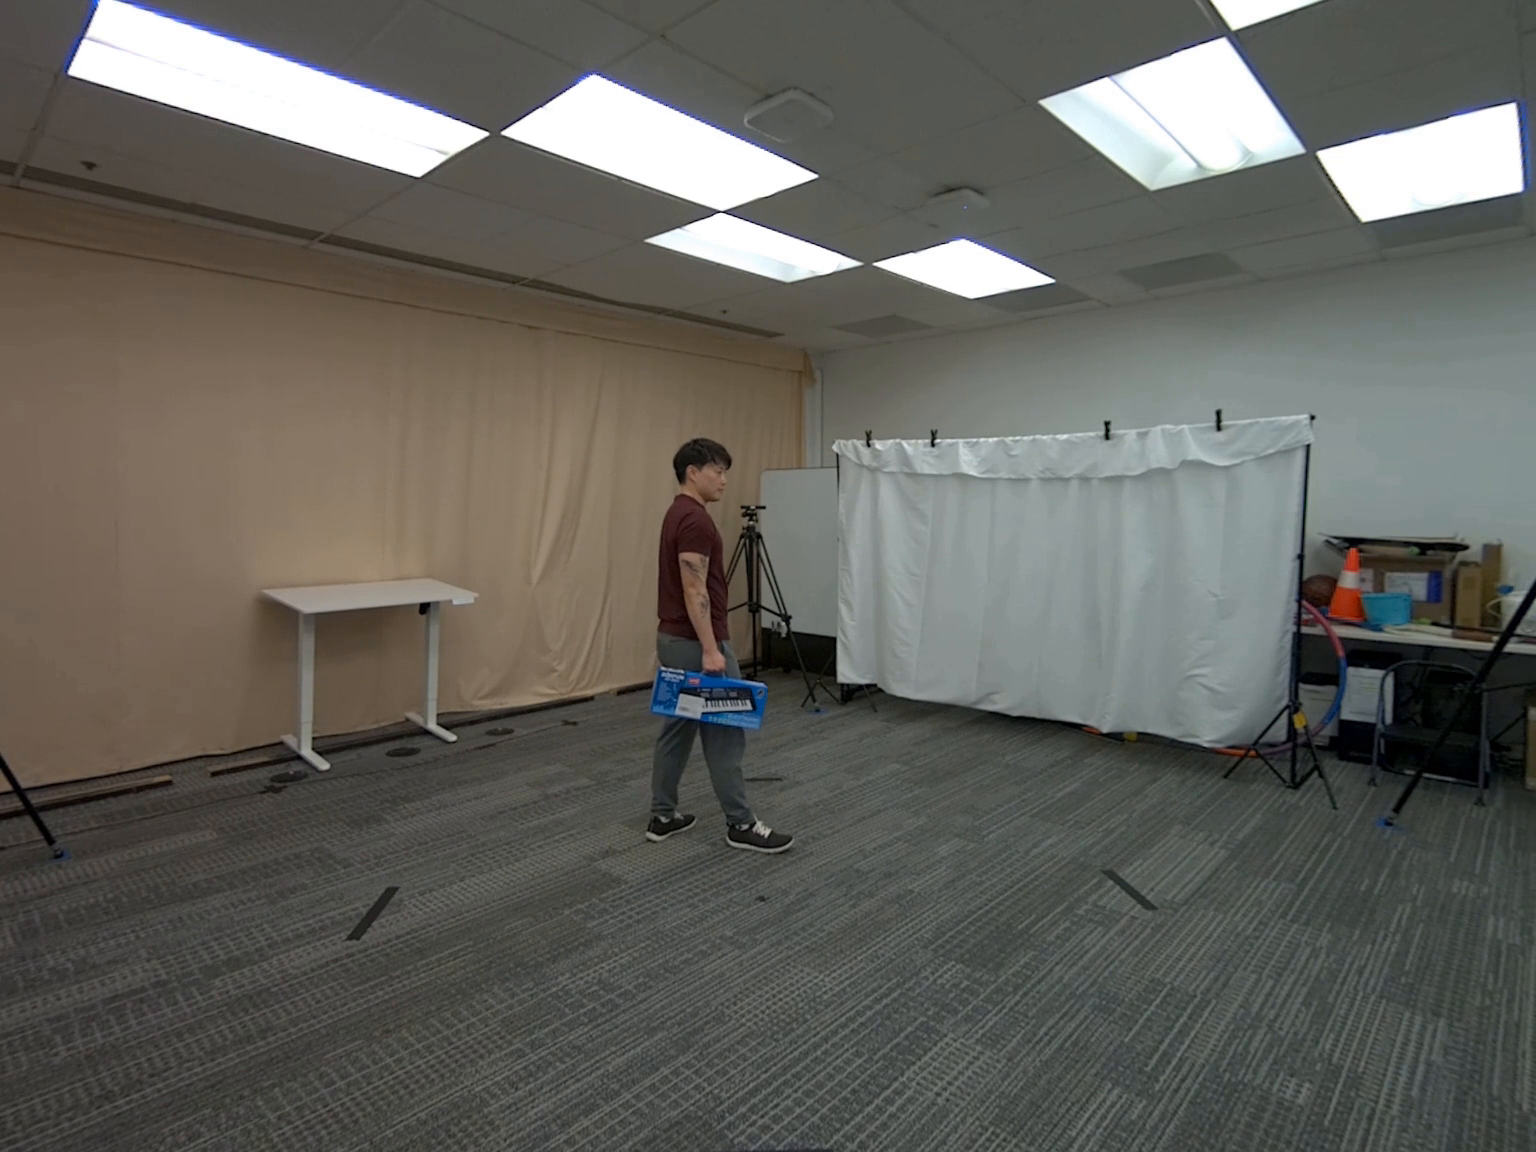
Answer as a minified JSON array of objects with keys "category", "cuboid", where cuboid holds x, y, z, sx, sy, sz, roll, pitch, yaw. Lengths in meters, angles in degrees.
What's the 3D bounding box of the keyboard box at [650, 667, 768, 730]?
[{"category":"keyboard box","cuboid":[-0.224,0.471,3.267,0.431,0.176,0.060,11,3,-11]}]
